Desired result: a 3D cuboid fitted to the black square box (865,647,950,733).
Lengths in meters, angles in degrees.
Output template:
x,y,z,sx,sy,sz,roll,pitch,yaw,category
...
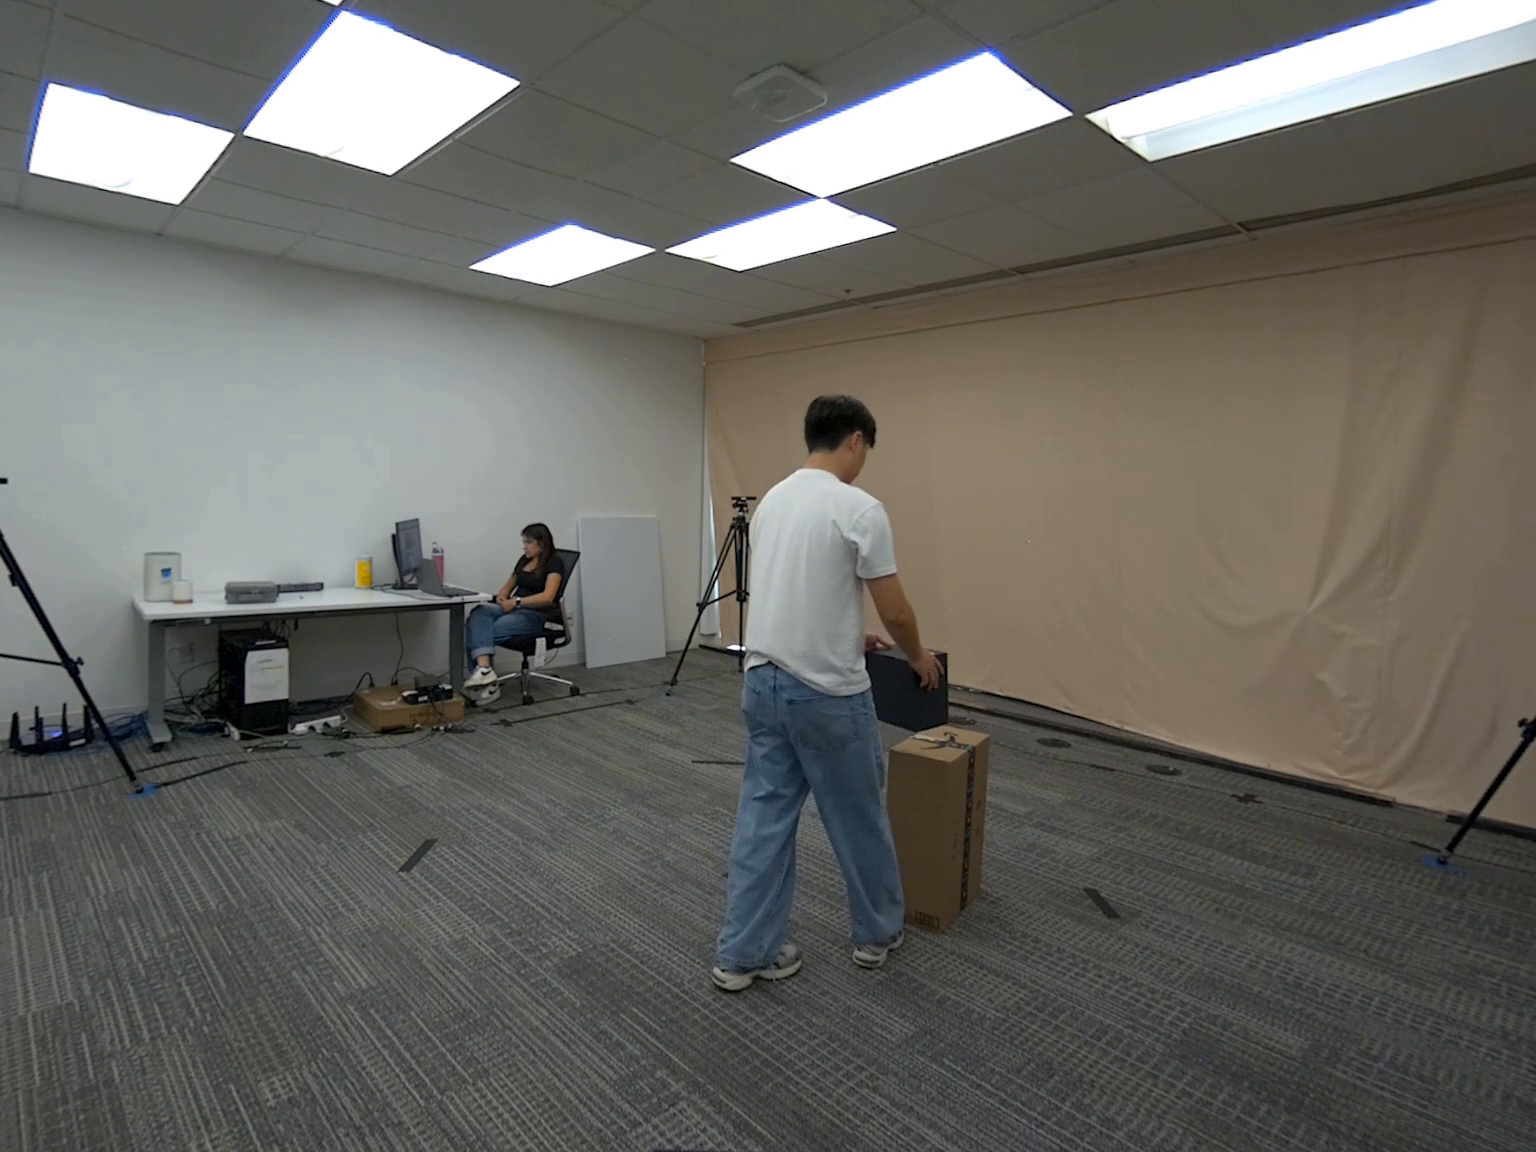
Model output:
x,y,z,sx,sy,sz,roll,pitch,yaw,category
0.428,0.360,2.712,0.152,0.227,0.222,-5,7,-38,black square box
